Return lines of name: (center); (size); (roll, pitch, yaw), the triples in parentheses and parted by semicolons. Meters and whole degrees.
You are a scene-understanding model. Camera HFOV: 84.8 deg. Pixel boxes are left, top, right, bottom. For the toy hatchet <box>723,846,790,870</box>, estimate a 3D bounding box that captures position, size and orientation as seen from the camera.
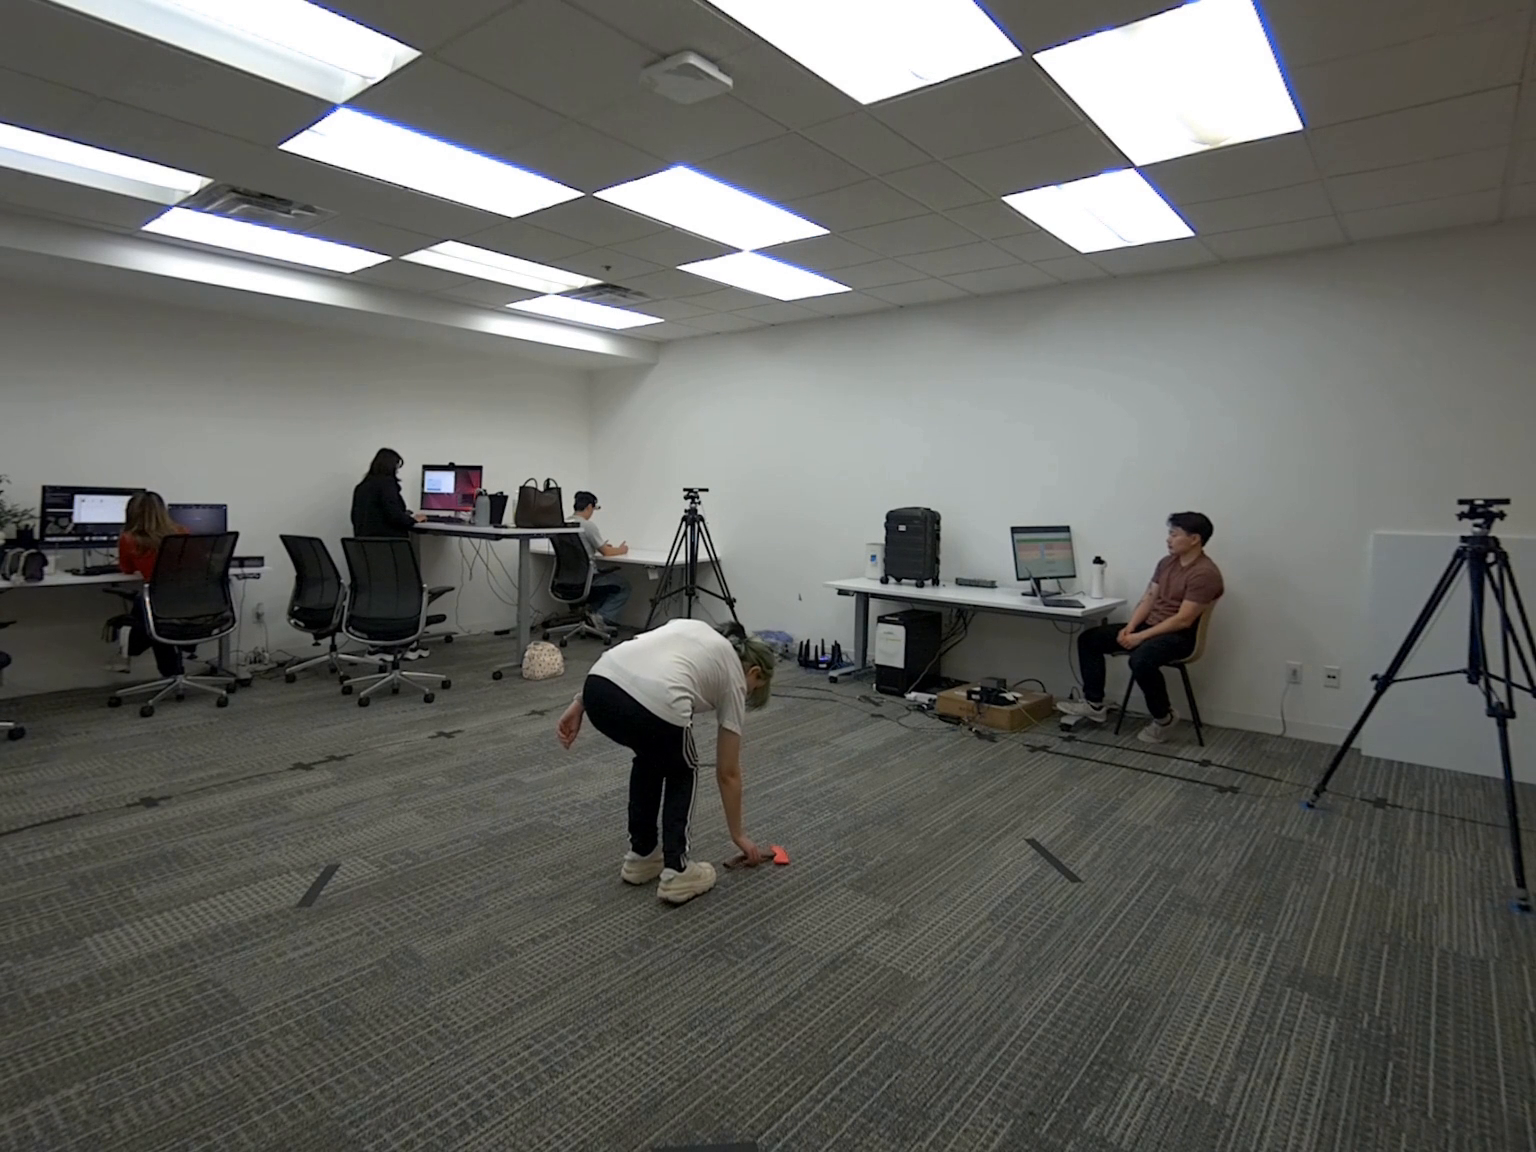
toy hatchet: (-0.037, 1.052, 3.145); (0.136, 0.029, 0.262); (15, 14, 42)
